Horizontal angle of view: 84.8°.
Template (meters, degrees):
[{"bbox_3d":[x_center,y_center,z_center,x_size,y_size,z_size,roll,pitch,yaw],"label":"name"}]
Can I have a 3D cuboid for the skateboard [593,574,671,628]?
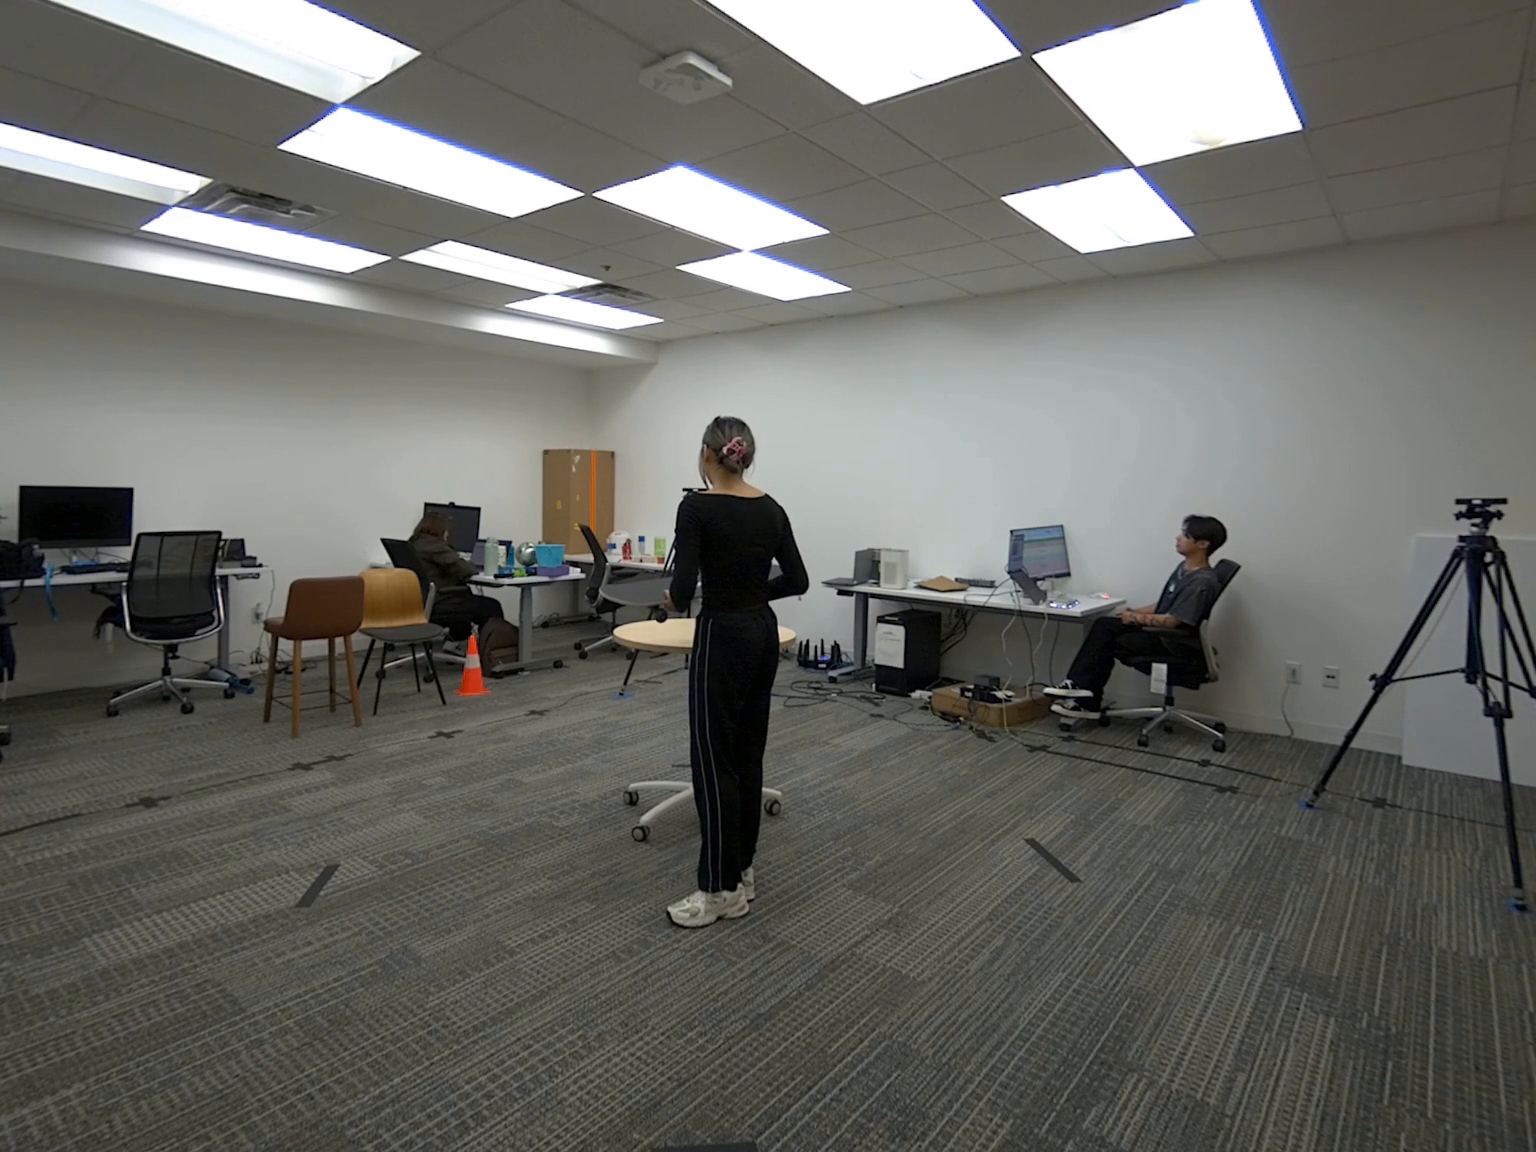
[{"bbox_3d":[-0.257,0.064,3.131,0.765,0.109,0.201,-8,22,-36],"label":"skateboard"}]
